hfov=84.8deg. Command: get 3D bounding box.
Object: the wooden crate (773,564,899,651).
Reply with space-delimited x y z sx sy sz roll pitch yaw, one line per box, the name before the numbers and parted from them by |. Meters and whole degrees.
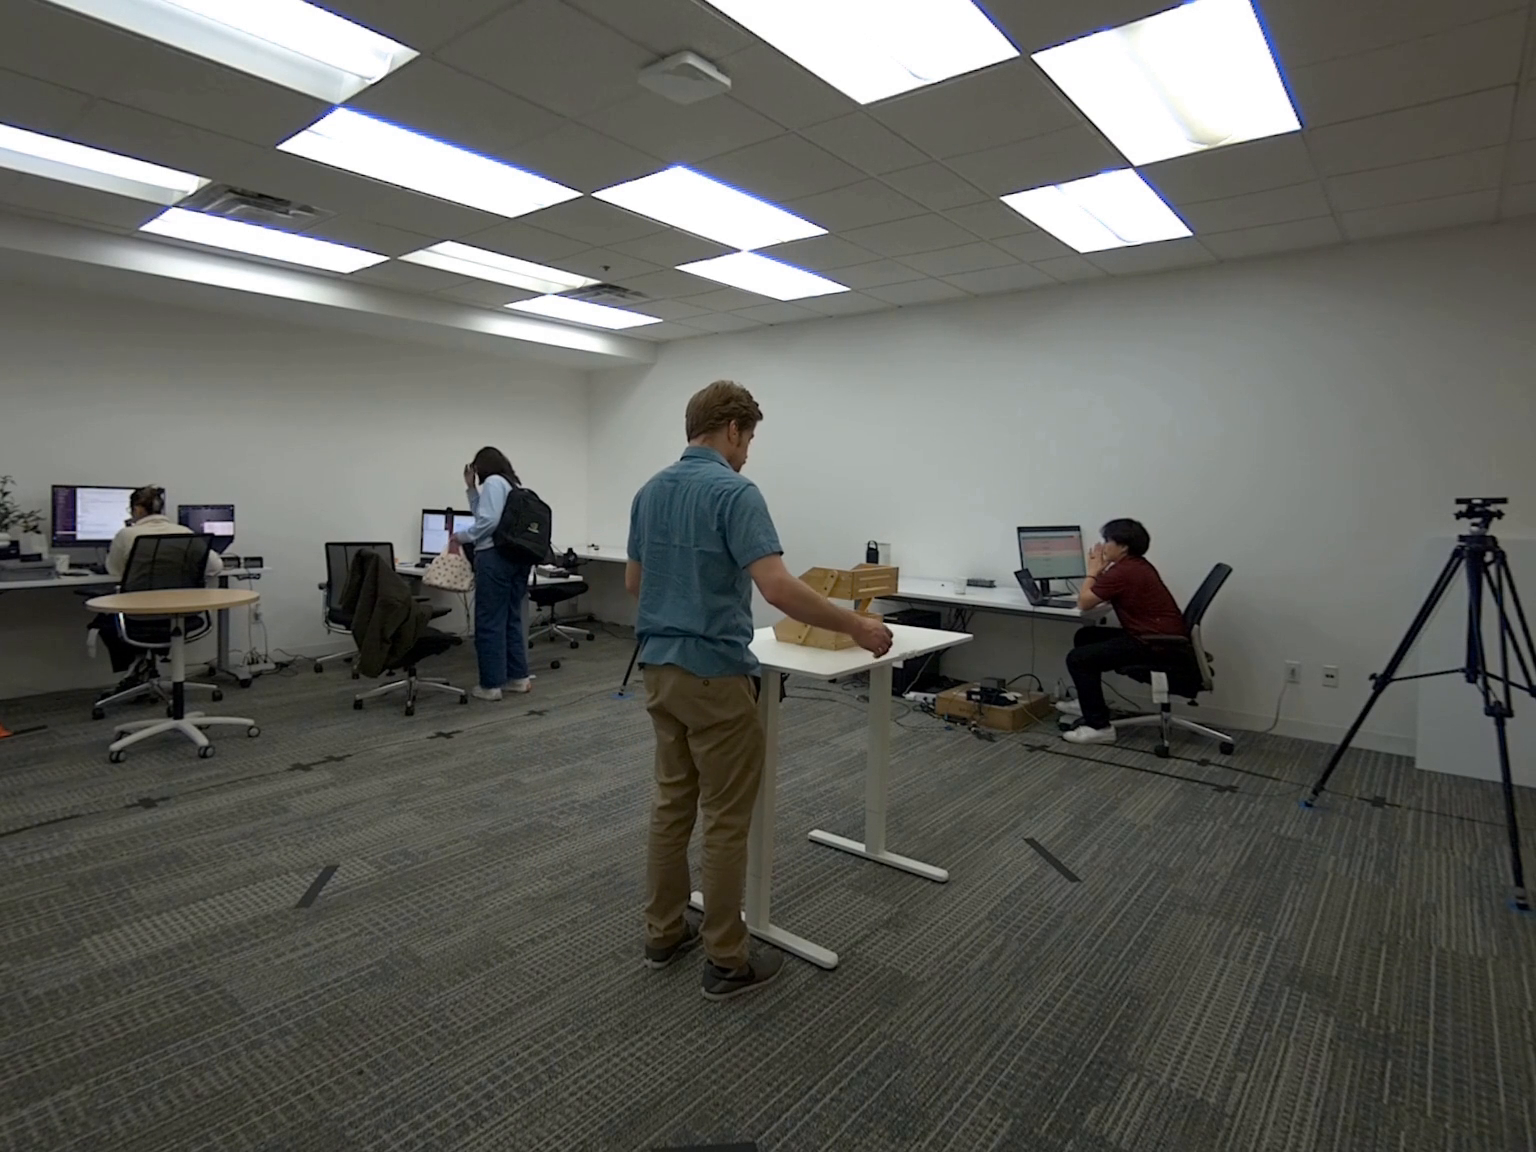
wooden crate | 0.212 0.085 2.871 0.312 0.272 0.315 6 6 39
